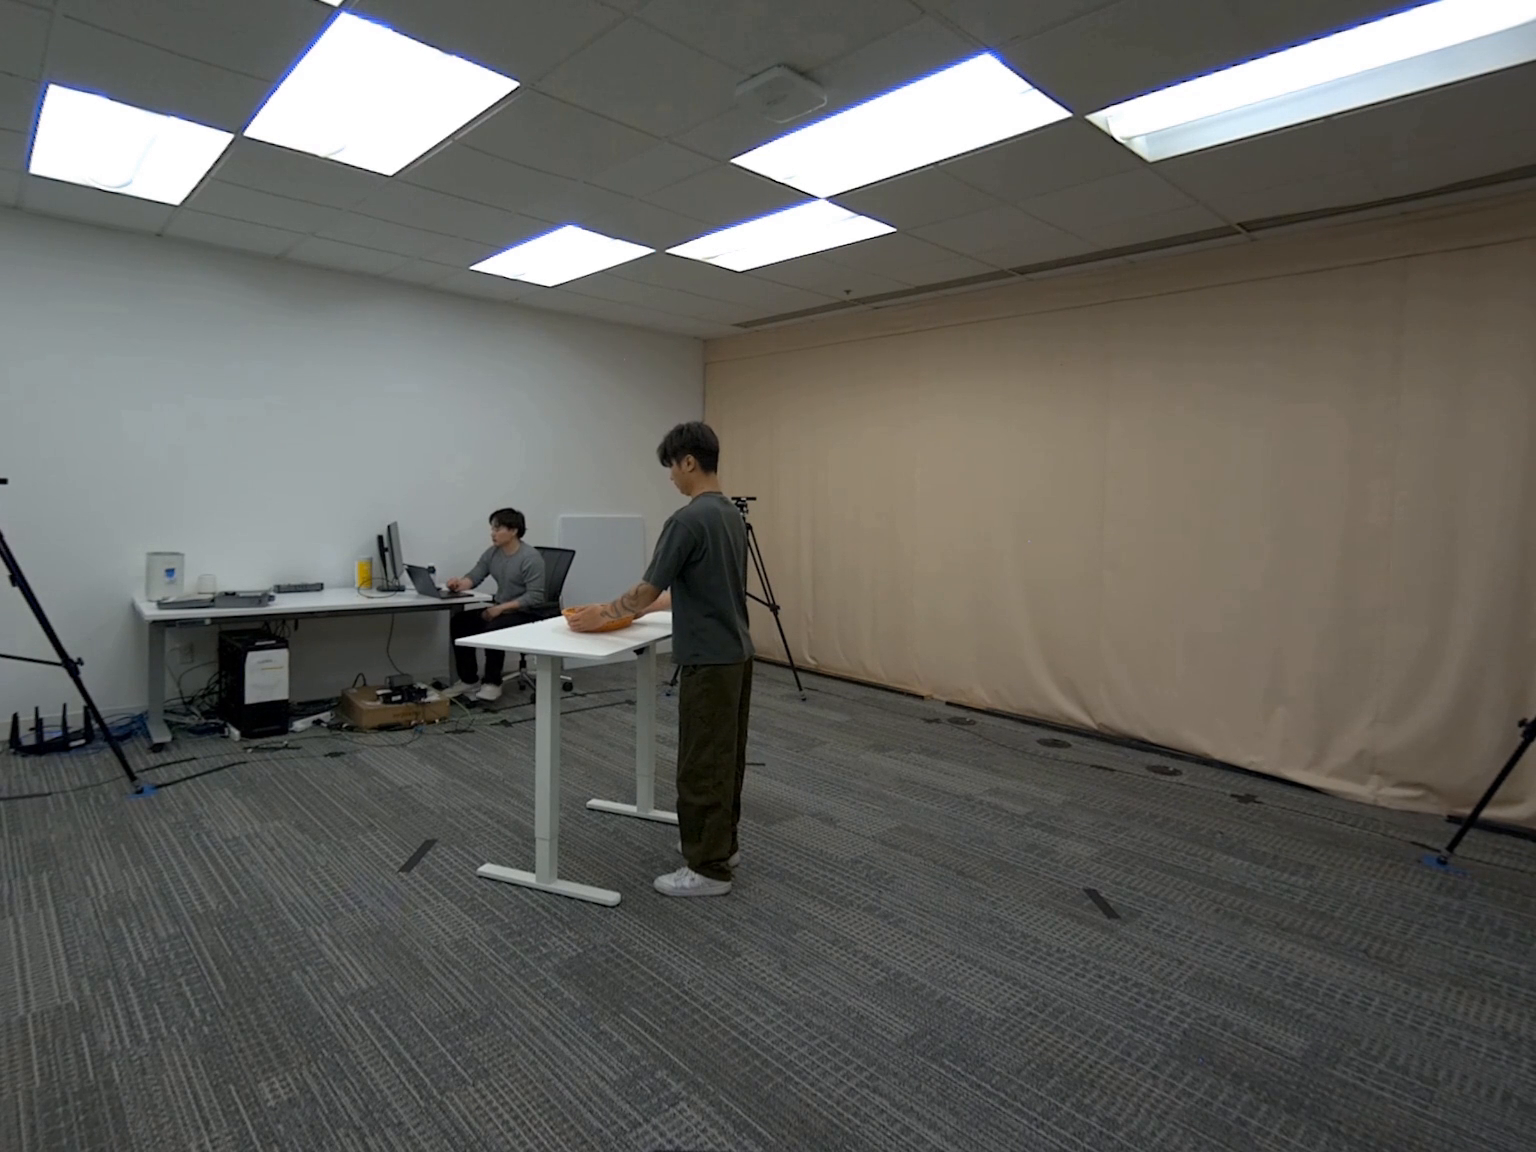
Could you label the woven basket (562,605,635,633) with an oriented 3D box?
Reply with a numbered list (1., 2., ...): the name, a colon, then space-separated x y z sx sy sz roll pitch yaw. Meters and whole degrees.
1. woven basket: -0.638 0.164 3.261 0.257 0.073 0.344 3 6 27
